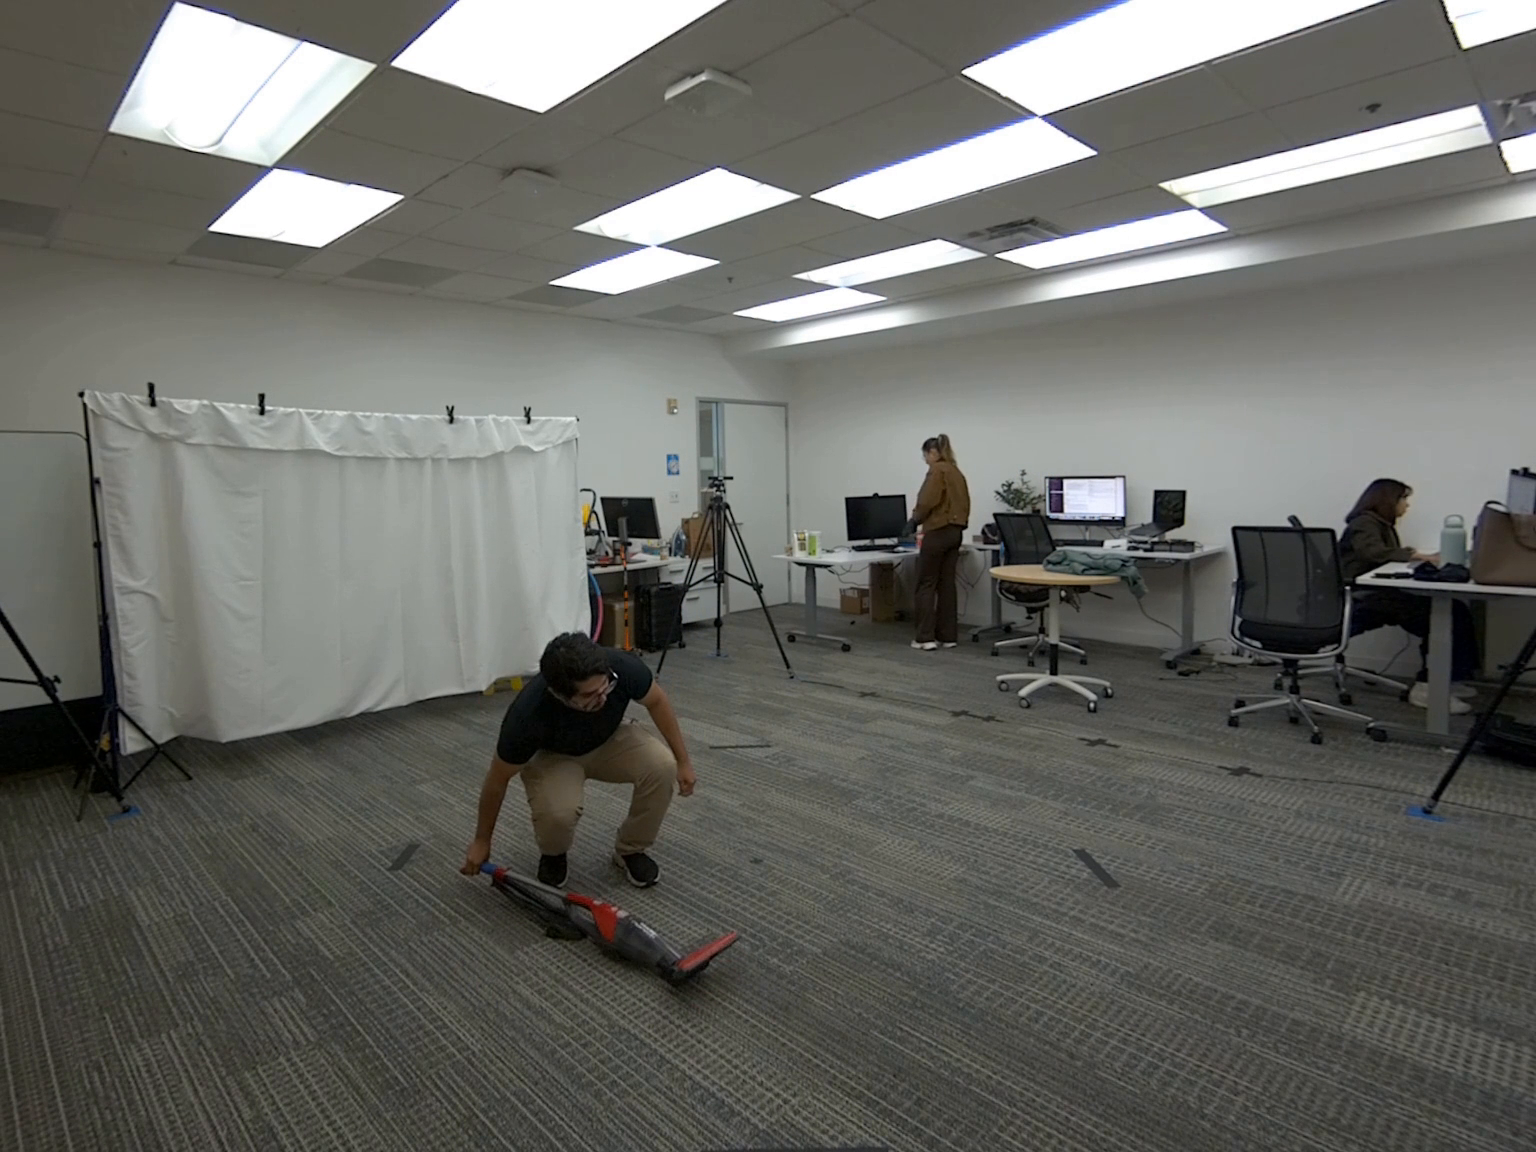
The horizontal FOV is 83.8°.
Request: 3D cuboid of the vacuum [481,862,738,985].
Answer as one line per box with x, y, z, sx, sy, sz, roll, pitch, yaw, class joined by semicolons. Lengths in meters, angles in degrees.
-0.603;1.047;2.648;1.079;0.144;0.245;2;2;35;vacuum
